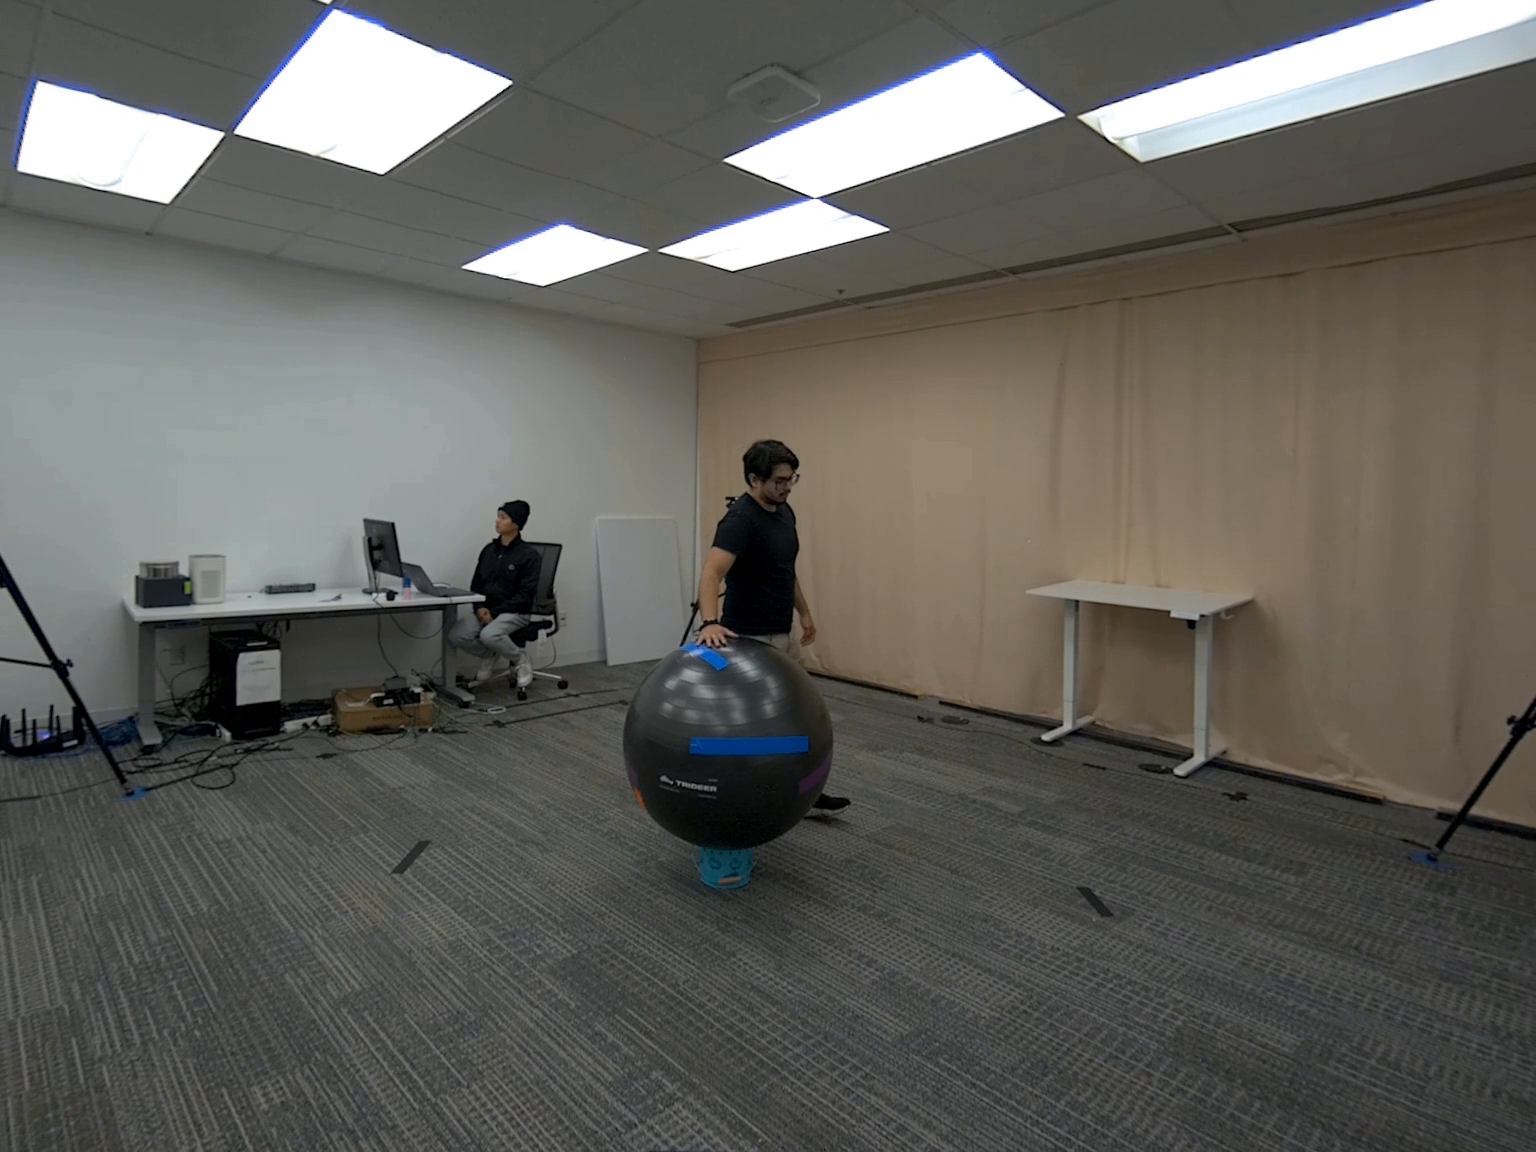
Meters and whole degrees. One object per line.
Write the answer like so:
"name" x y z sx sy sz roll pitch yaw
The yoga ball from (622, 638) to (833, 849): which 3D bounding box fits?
"yoga ball" -0.153 0.602 3.053 0.757 0.756 0.760 1 4 -1
